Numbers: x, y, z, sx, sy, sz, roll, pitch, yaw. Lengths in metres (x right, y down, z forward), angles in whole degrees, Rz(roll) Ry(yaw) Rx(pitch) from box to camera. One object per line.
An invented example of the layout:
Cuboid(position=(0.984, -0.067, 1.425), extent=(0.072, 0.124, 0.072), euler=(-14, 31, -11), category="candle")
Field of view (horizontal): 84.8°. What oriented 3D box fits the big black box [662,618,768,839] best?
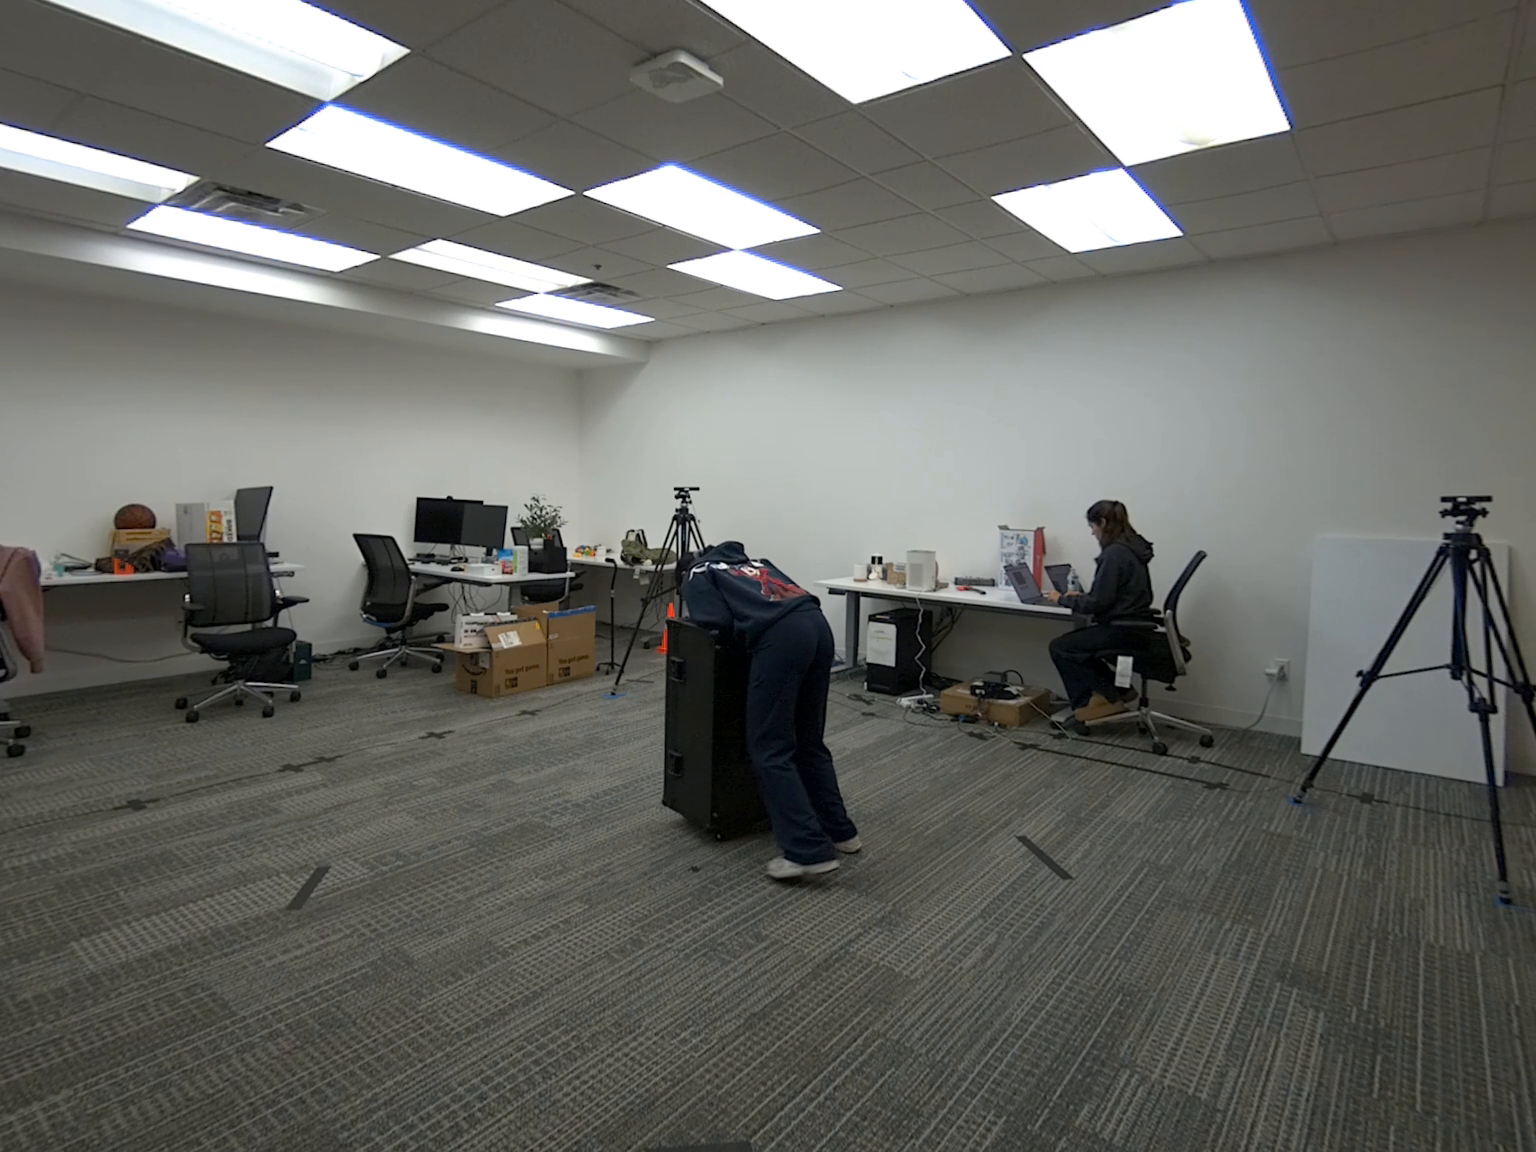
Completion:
Cuboid(position=(-0.143, 0.604, 3.514), extent=(0.506, 0.858, 0.410), euler=(-1, 5, -35), category="big black box")
